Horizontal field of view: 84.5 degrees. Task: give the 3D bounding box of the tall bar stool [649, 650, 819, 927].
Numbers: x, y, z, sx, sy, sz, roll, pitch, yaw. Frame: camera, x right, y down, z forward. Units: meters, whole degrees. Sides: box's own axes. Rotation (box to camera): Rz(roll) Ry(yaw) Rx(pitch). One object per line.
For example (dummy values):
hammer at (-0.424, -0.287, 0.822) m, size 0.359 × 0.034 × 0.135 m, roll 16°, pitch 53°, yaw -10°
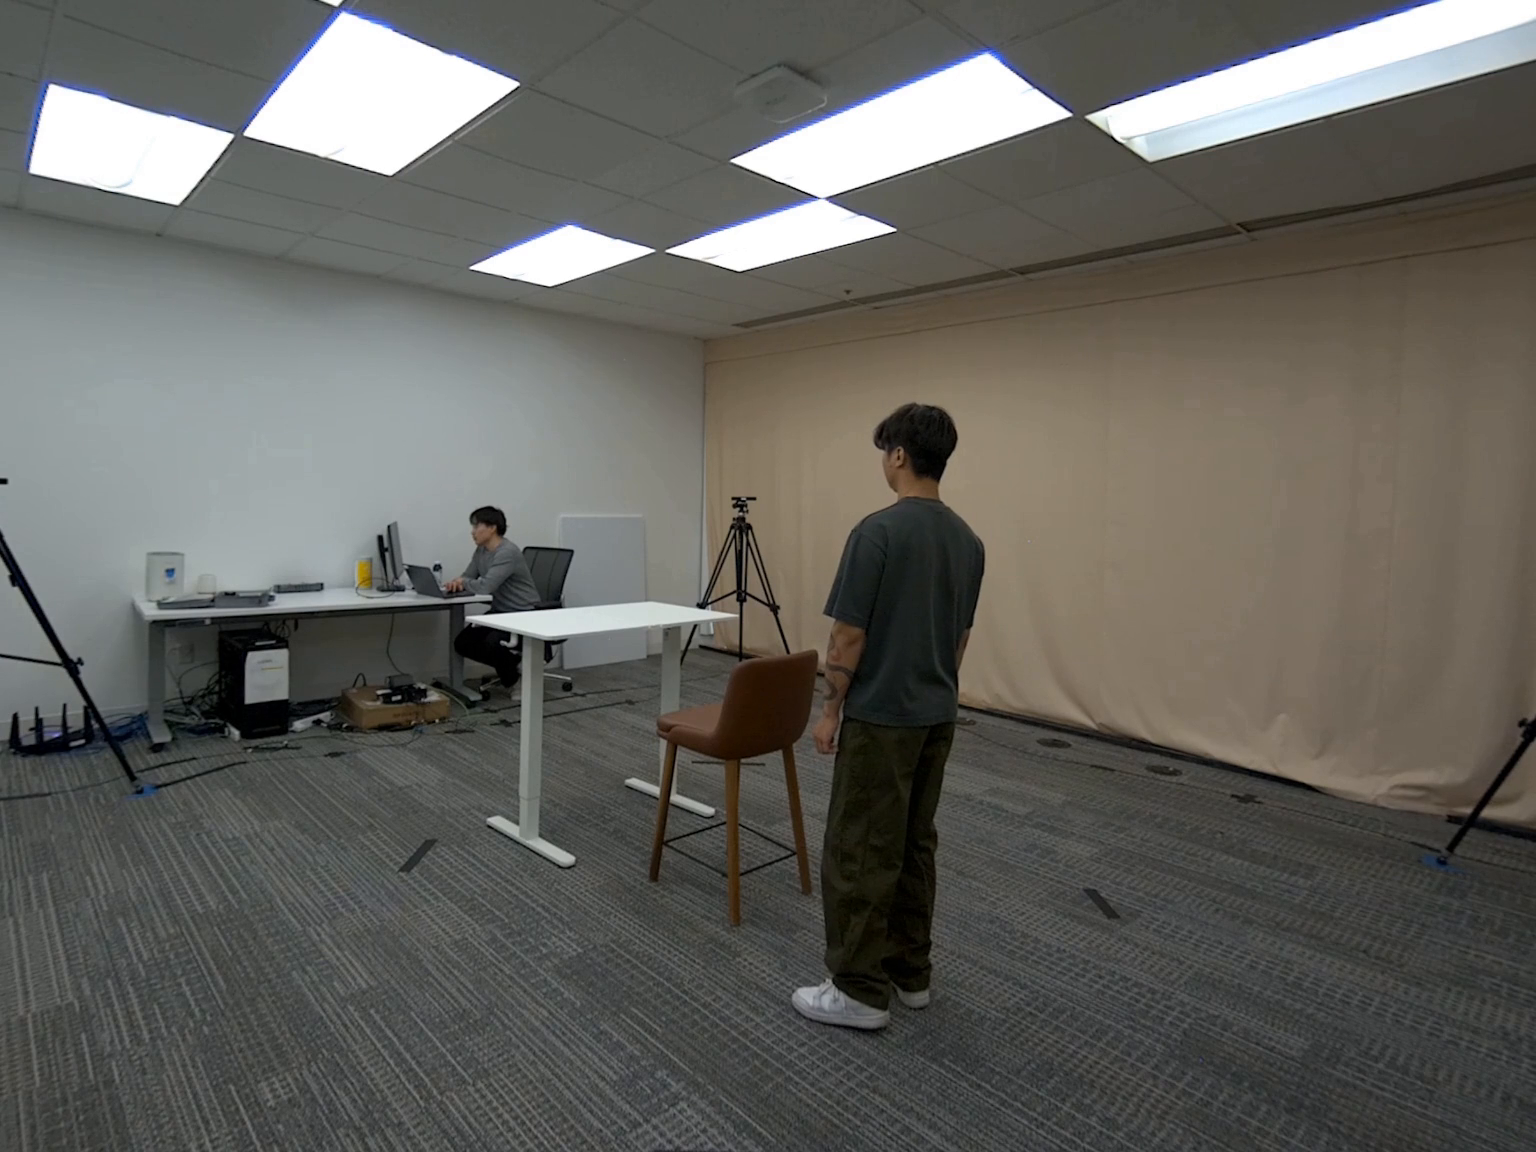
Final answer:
tall bar stool at (-0.121, 0.682, 2.987) m, size 0.446 × 0.887 × 0.480 m, roll -2°, pitch 7°, yaw -43°
